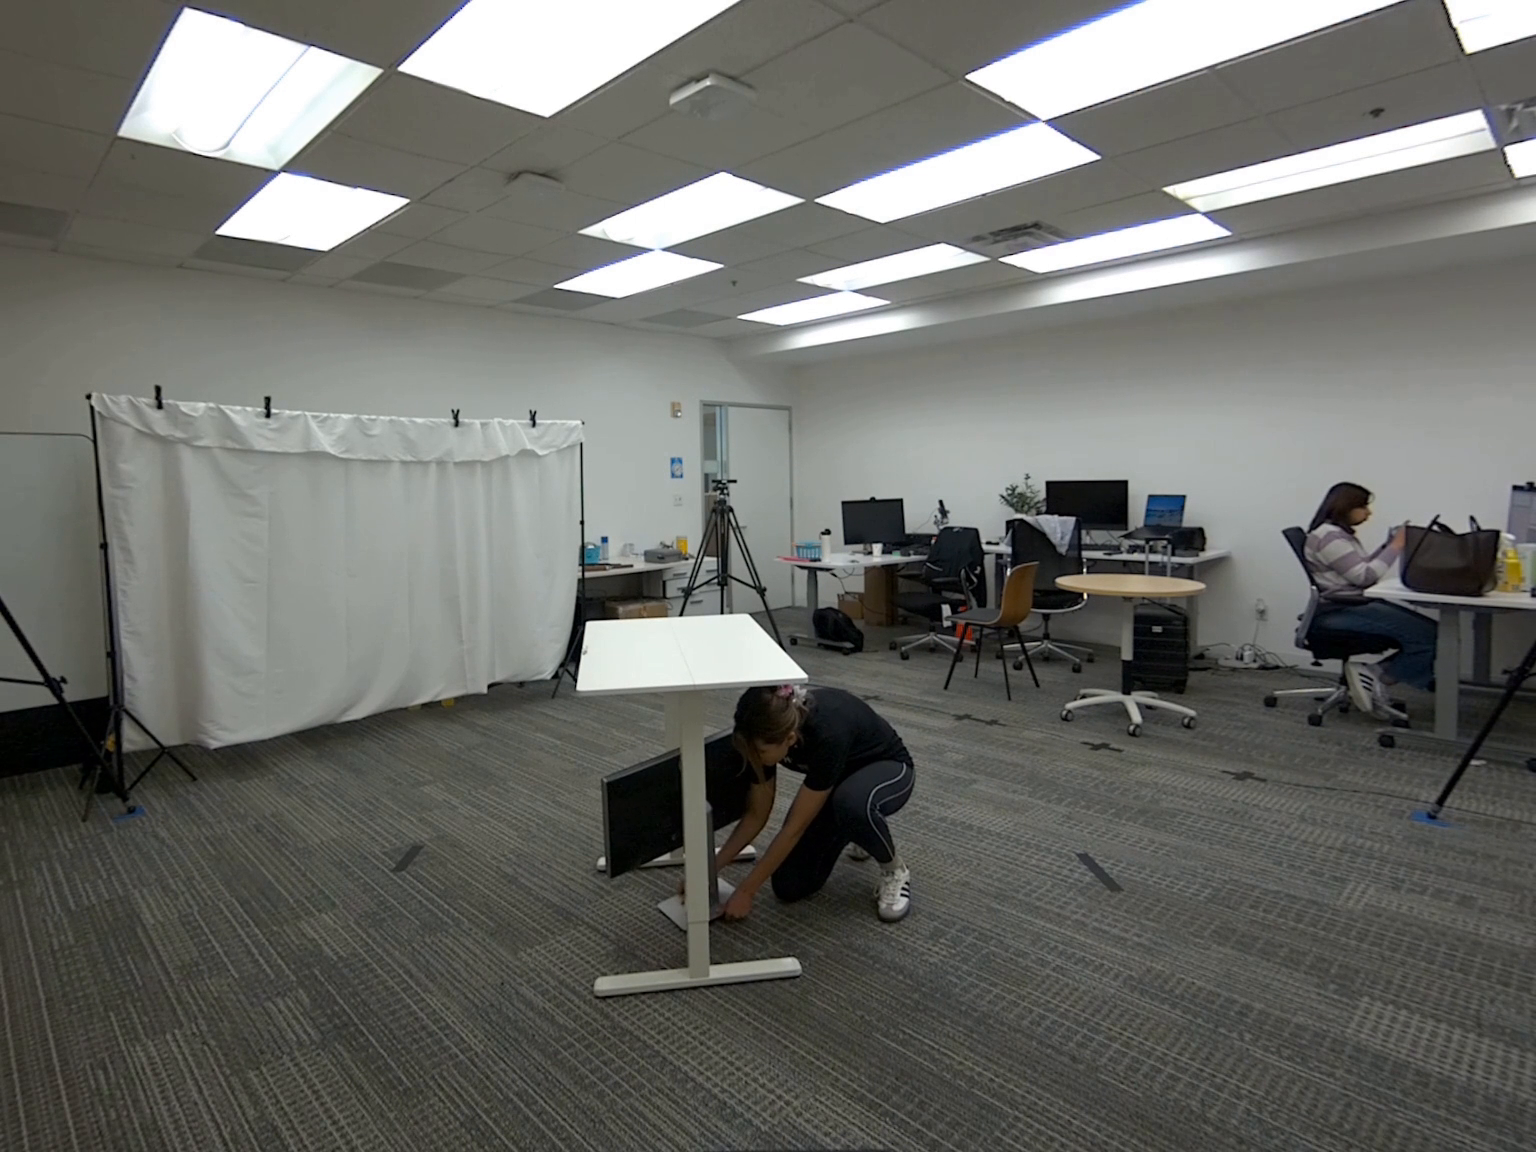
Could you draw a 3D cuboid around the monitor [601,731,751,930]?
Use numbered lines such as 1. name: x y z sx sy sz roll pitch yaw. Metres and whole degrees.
1. monitor: -0.248 0.809 2.741 0.528 0.517 0.193 -15 12 -35
